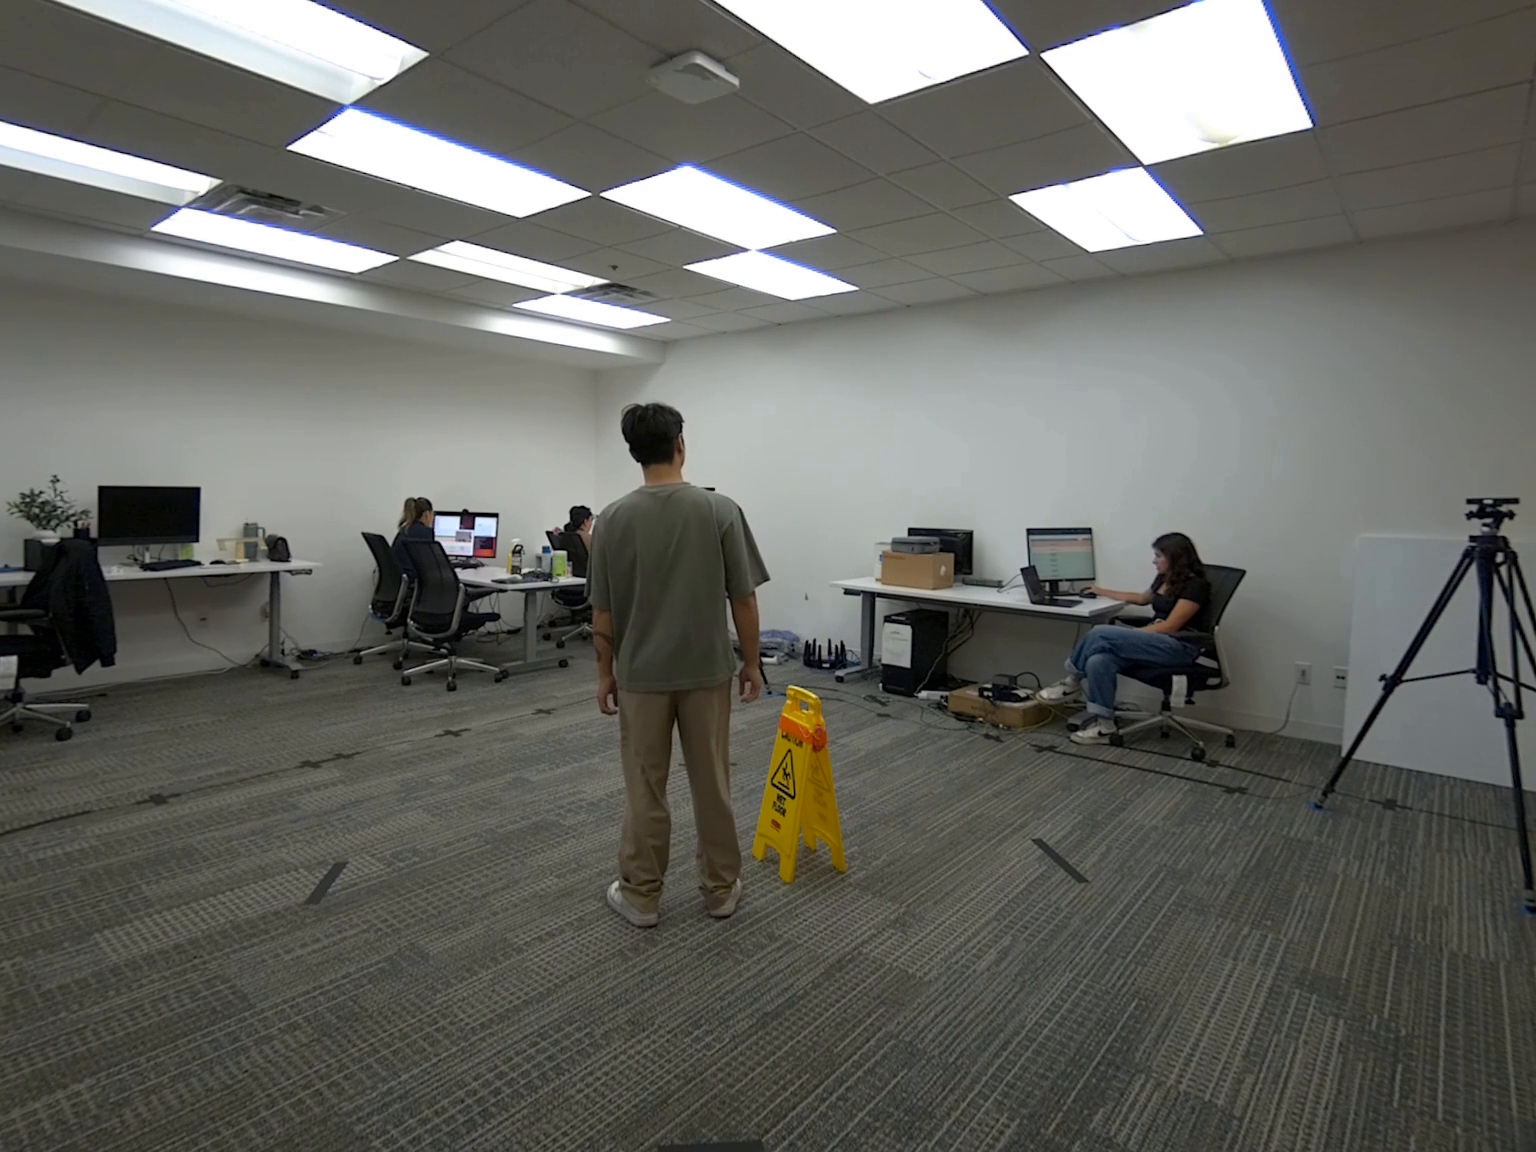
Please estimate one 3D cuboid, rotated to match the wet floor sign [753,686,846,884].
[{"bbox_3d":[0.112,0.740,3.155,0.282,0.644,0.290,0,3,-27],"label":"wet floor sign"}]
